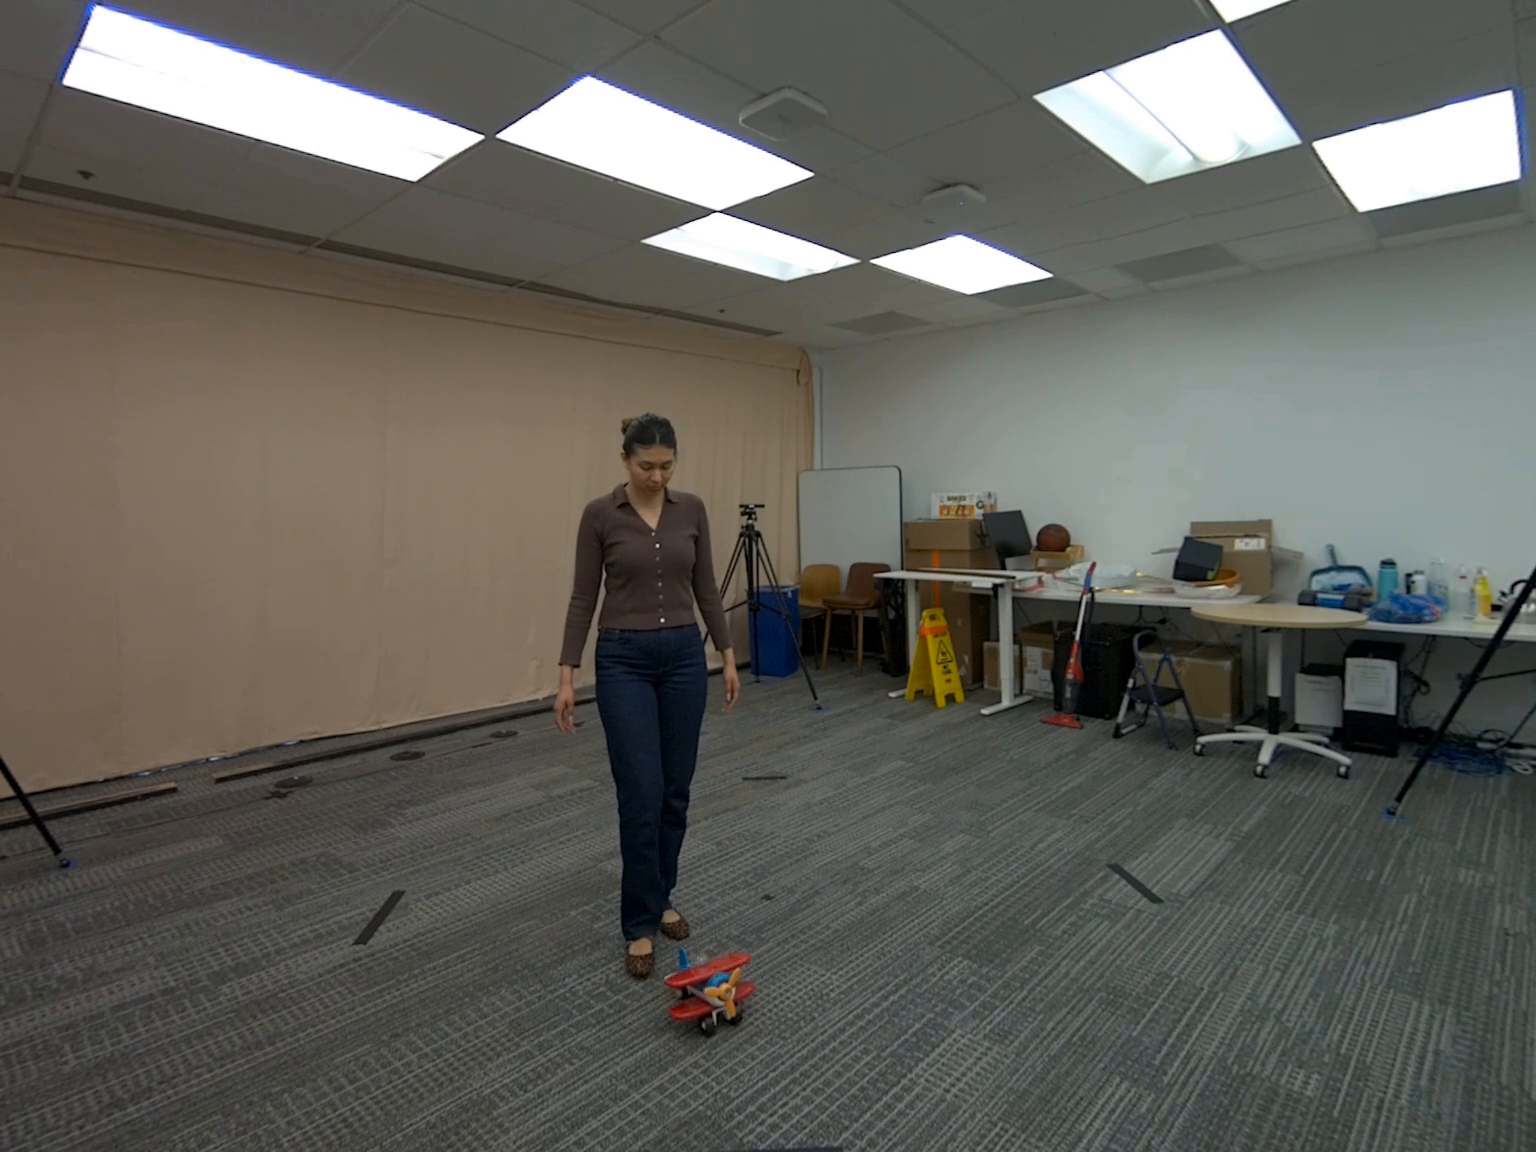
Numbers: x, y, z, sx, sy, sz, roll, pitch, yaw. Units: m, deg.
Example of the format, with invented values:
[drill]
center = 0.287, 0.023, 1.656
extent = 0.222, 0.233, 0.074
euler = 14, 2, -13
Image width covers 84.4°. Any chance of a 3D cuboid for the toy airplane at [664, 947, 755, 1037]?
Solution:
[toy airplane]
center = -0.190, 1.128, 2.300
extent = 0.266, 0.156, 0.245
euler = 2, 6, 29
